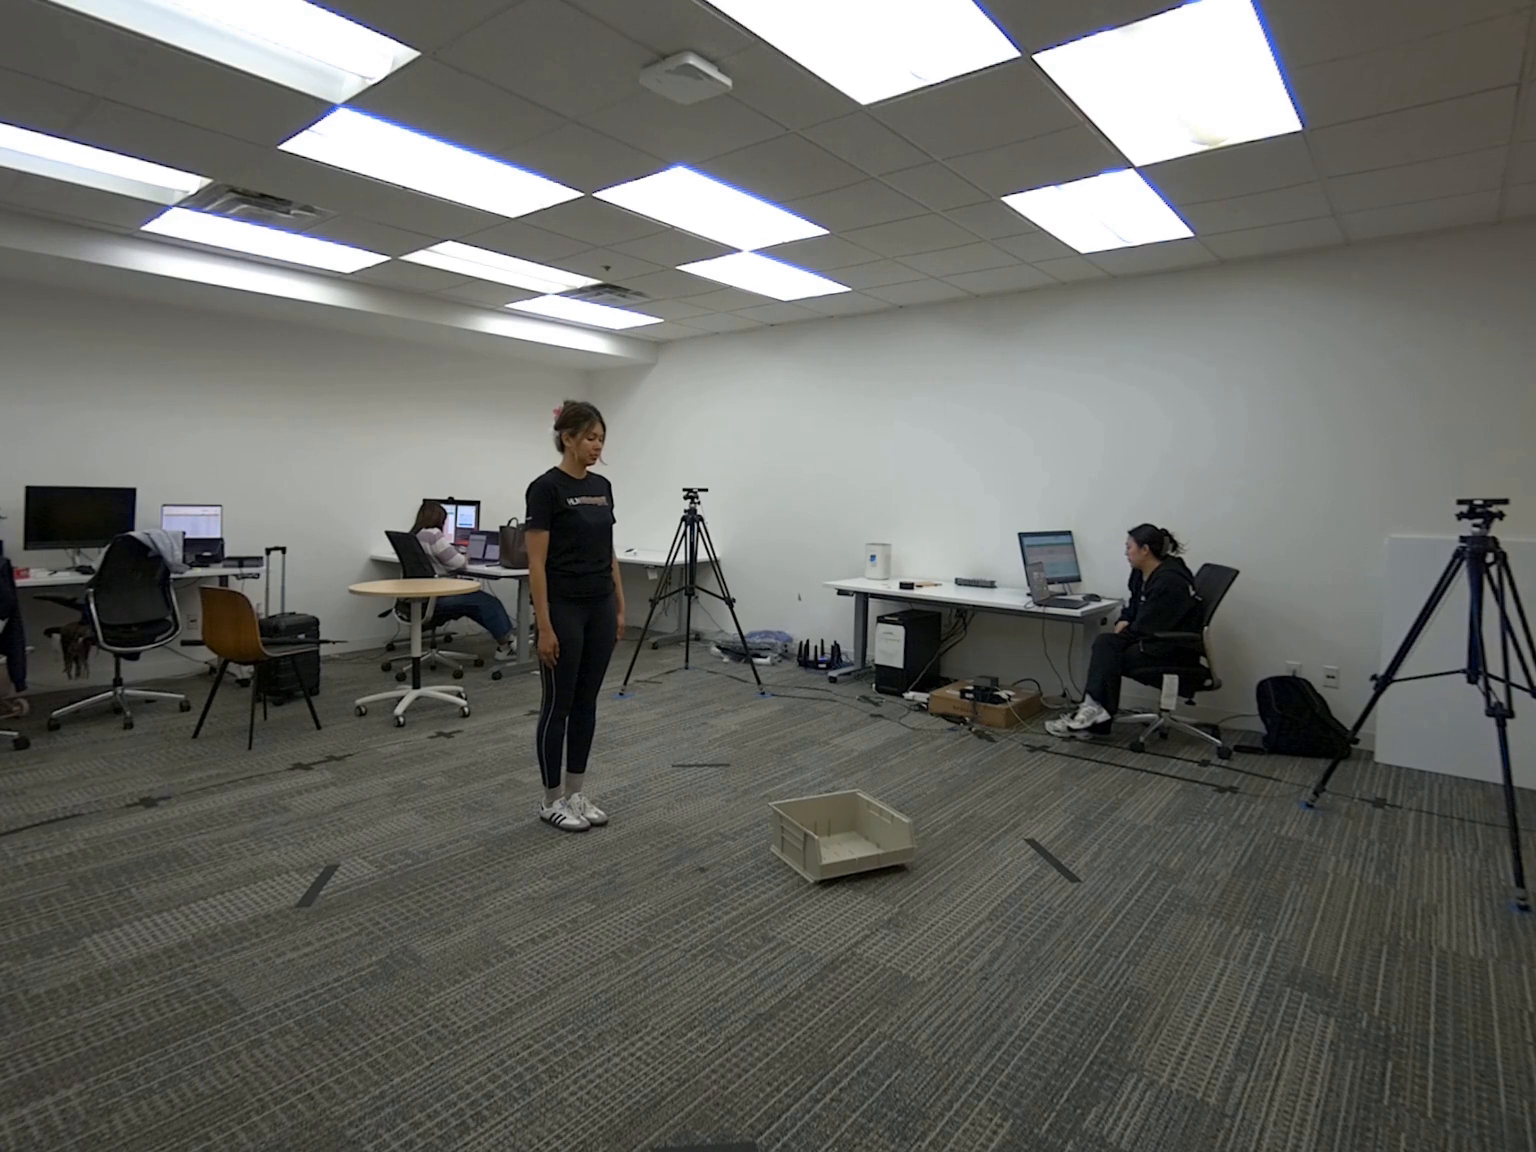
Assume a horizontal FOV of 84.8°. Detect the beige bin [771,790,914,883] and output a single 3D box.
[{"bbox_3d":[0.266,0.980,3.219,0.412,0.188,0.388,-2,5,-28],"label":"beige bin"}]
